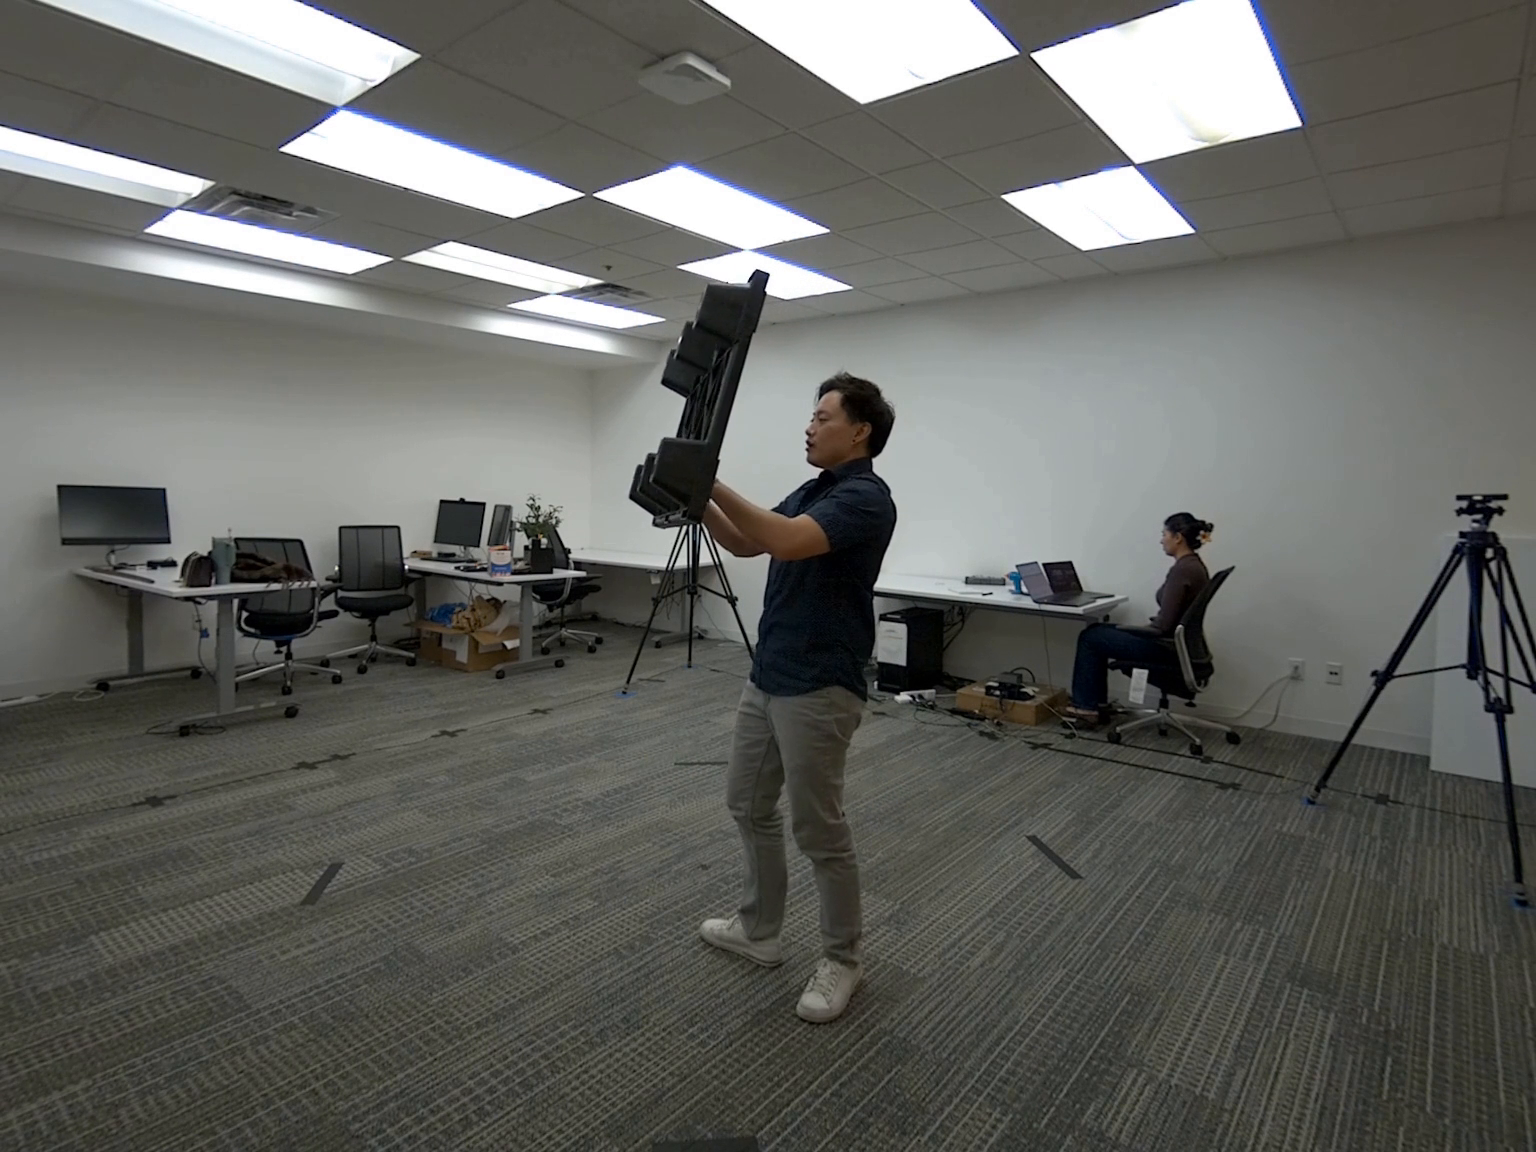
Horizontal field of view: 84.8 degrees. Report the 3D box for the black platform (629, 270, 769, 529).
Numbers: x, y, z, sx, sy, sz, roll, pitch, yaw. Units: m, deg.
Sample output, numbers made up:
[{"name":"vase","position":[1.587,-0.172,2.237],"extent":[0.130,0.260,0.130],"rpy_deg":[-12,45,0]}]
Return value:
[{"name":"black platform","position":[-0.227,-0.443,2.284],"extent":[0.141,0.606,0.816],"rpy_deg":[15,-2,-14]}]
